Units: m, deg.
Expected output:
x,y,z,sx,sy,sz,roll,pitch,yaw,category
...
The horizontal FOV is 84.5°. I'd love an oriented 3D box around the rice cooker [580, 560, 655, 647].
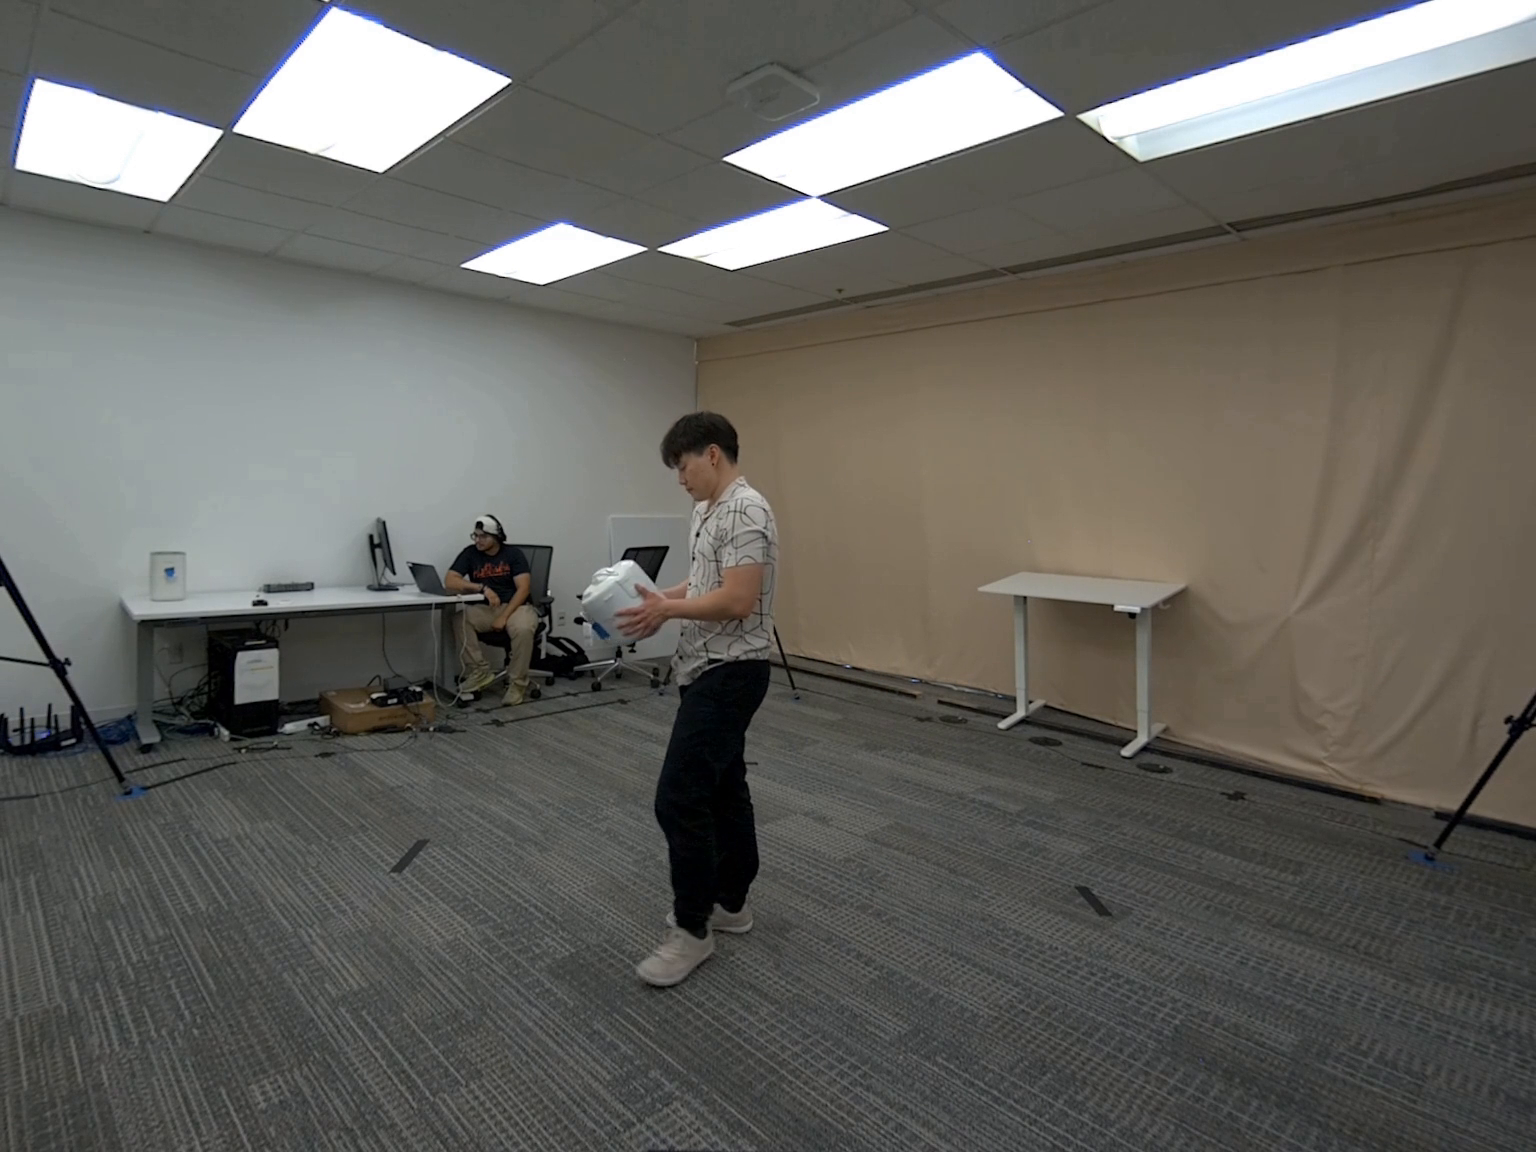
x,y,z,sx,sy,sz,roll,pitch,yaw,category
-0.452,0.072,2.593,0.217,0.230,0.223,-47,15,-30,rice cooker
